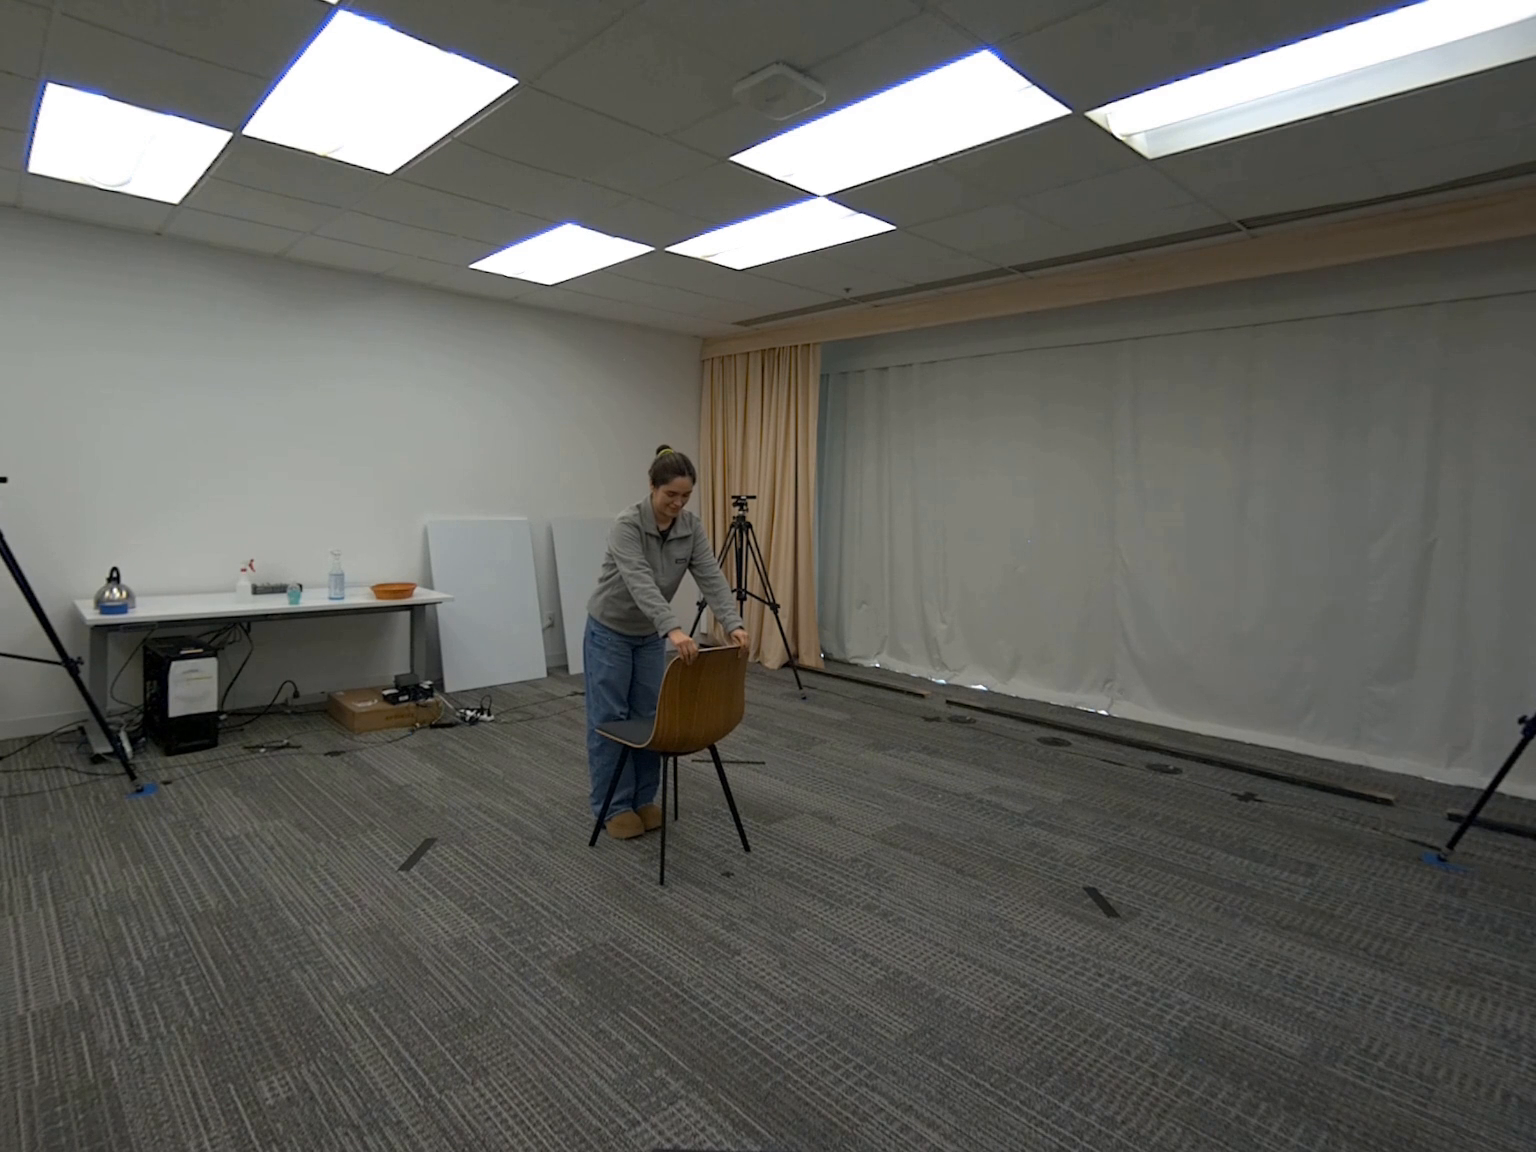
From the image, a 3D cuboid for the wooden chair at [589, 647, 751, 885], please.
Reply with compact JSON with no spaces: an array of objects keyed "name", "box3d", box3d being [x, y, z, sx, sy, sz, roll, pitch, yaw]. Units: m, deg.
[{"name":"wooden chair","box3d":[-0.384,0.654,3.285,0.467,0.874,0.537,-2,9,-45]}]
